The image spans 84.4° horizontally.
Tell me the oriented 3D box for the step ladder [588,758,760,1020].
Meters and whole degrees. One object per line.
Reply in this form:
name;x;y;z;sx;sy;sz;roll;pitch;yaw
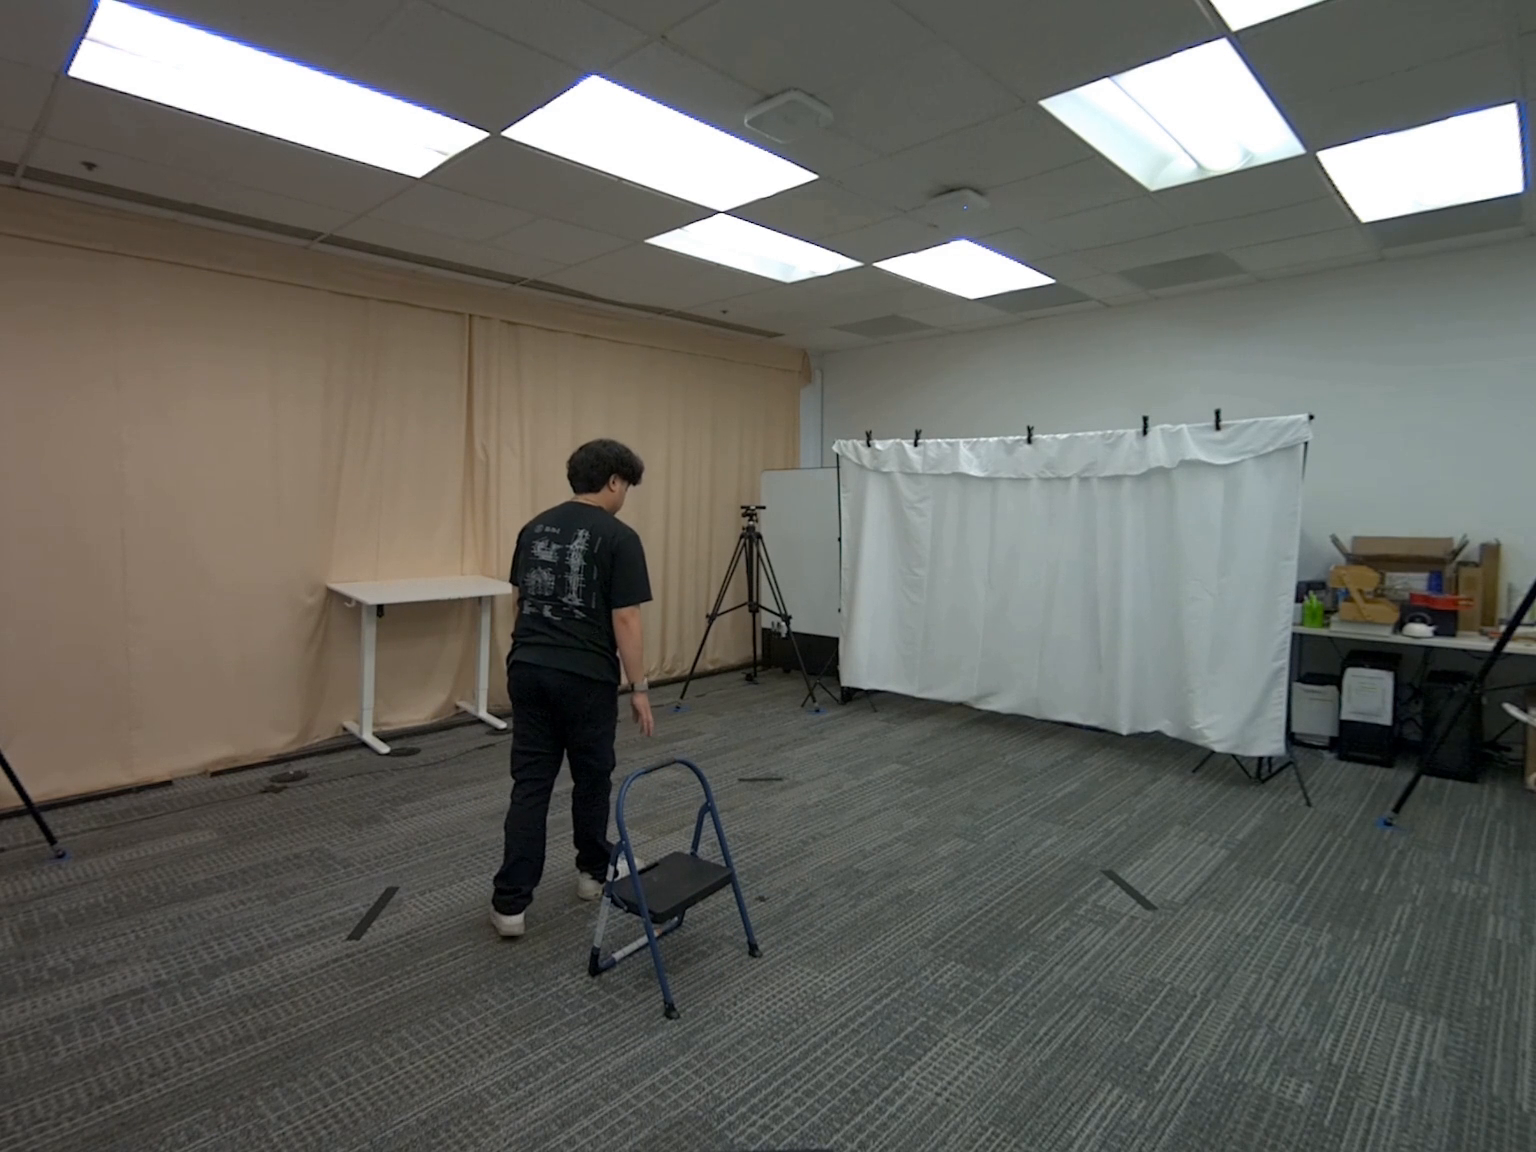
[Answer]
step ladder;-0.274;0.879;2.537;0.360;0.605;0.418;3;4;36
